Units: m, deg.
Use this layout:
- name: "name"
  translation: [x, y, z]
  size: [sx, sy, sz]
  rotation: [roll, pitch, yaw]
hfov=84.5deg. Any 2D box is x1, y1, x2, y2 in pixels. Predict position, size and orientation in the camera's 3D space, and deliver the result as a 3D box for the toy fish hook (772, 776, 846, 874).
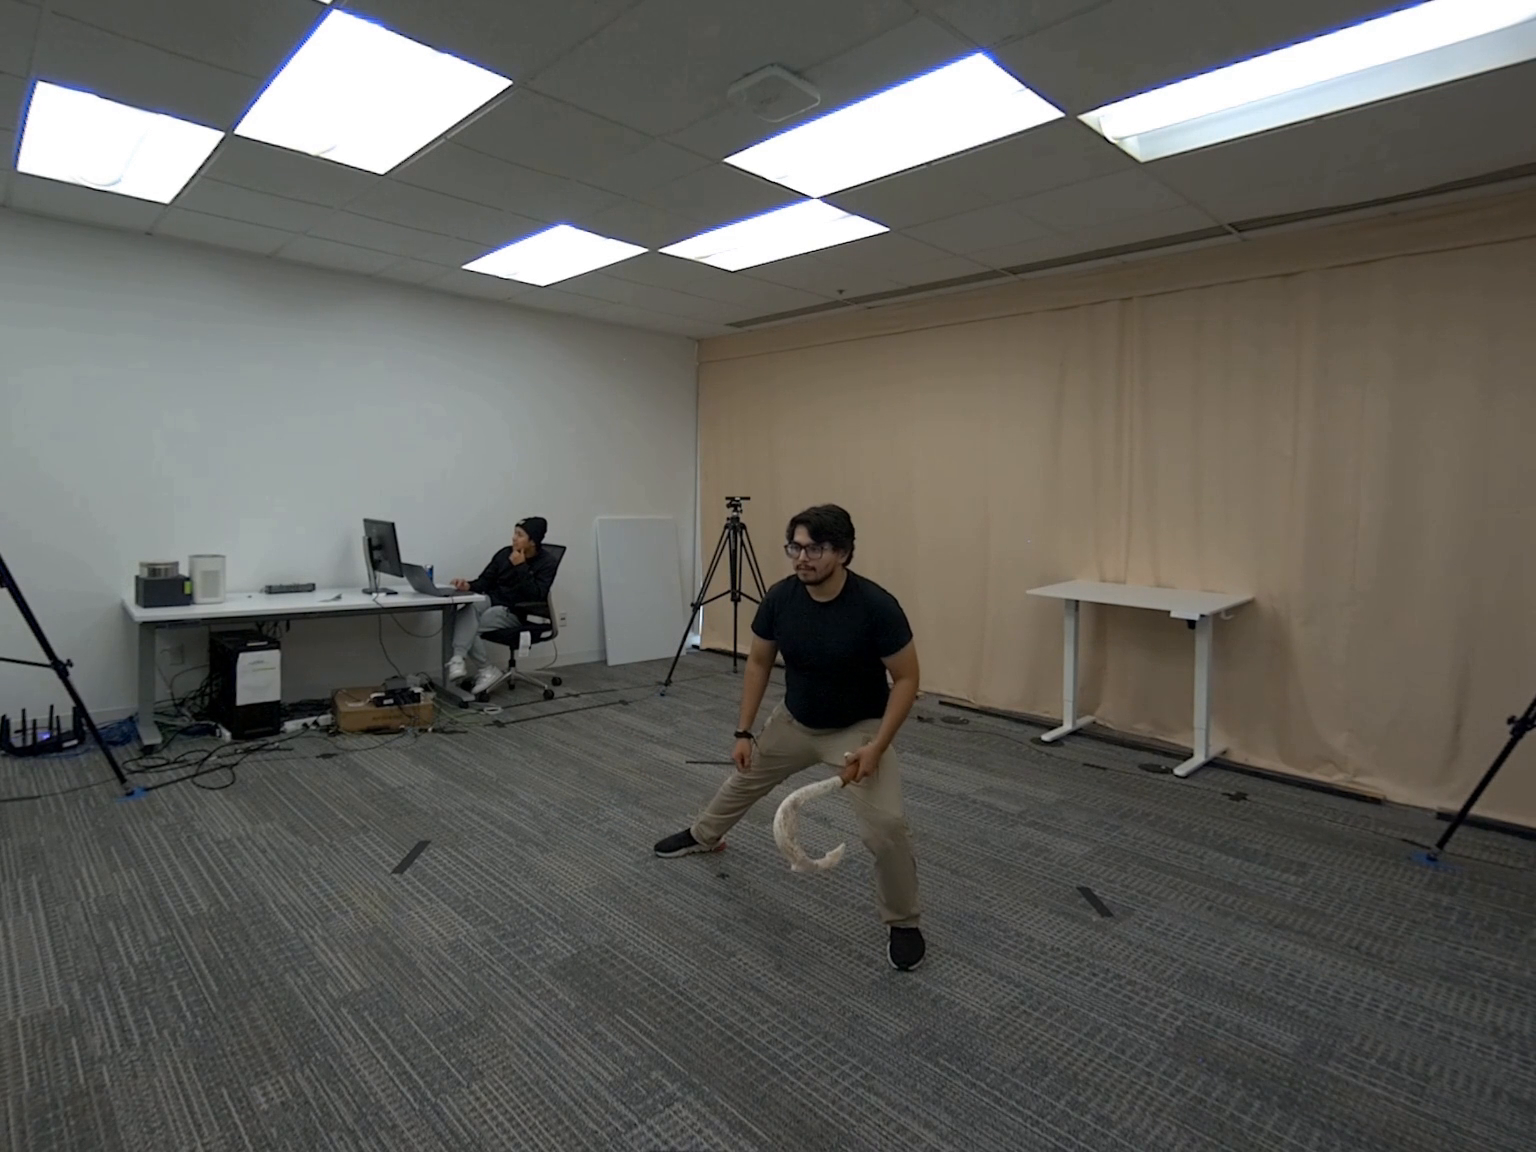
- name: "toy fish hook"
  translation: [0.185, 0.662, 2.419]
  size: [0.501, 0.225, 0.049]
  rotation: [-28, 0, -43]
